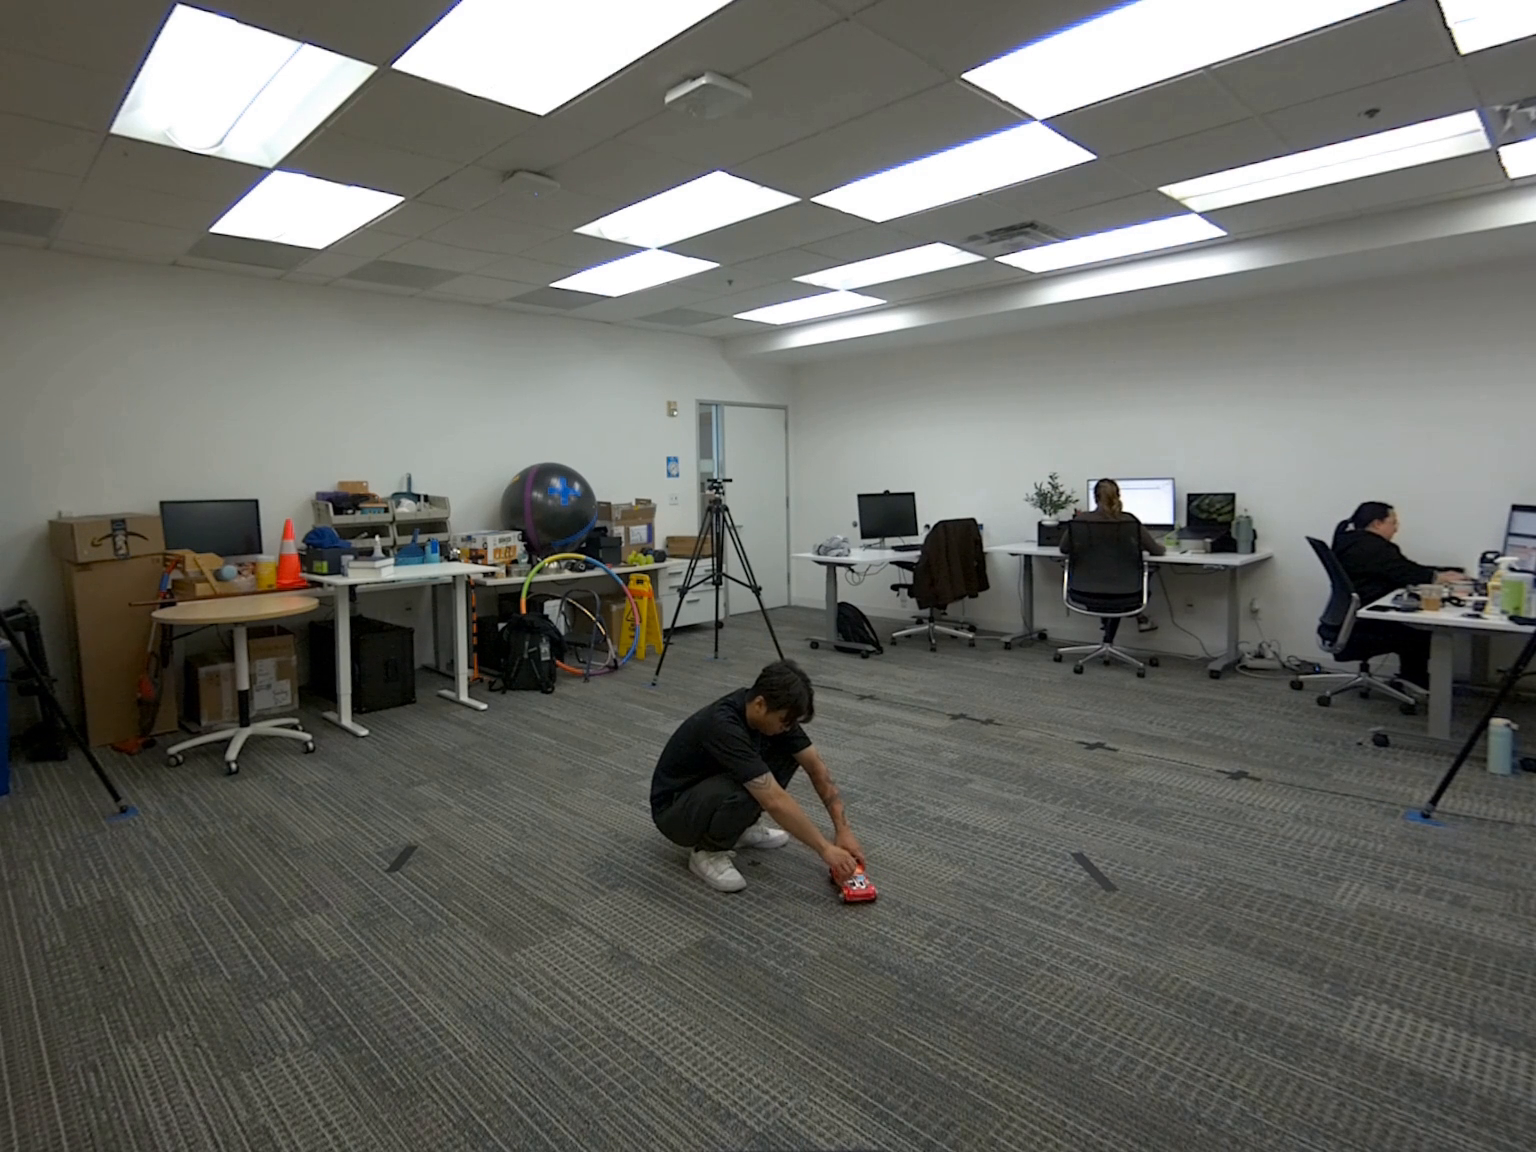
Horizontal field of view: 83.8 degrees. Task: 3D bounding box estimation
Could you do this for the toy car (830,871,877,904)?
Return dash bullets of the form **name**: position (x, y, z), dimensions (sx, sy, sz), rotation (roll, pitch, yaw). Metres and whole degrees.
- **toy car**: position (0.280, 1.029, 2.902), dimensions (0.129, 0.082, 0.260), rotation (-4, 16, -9)
